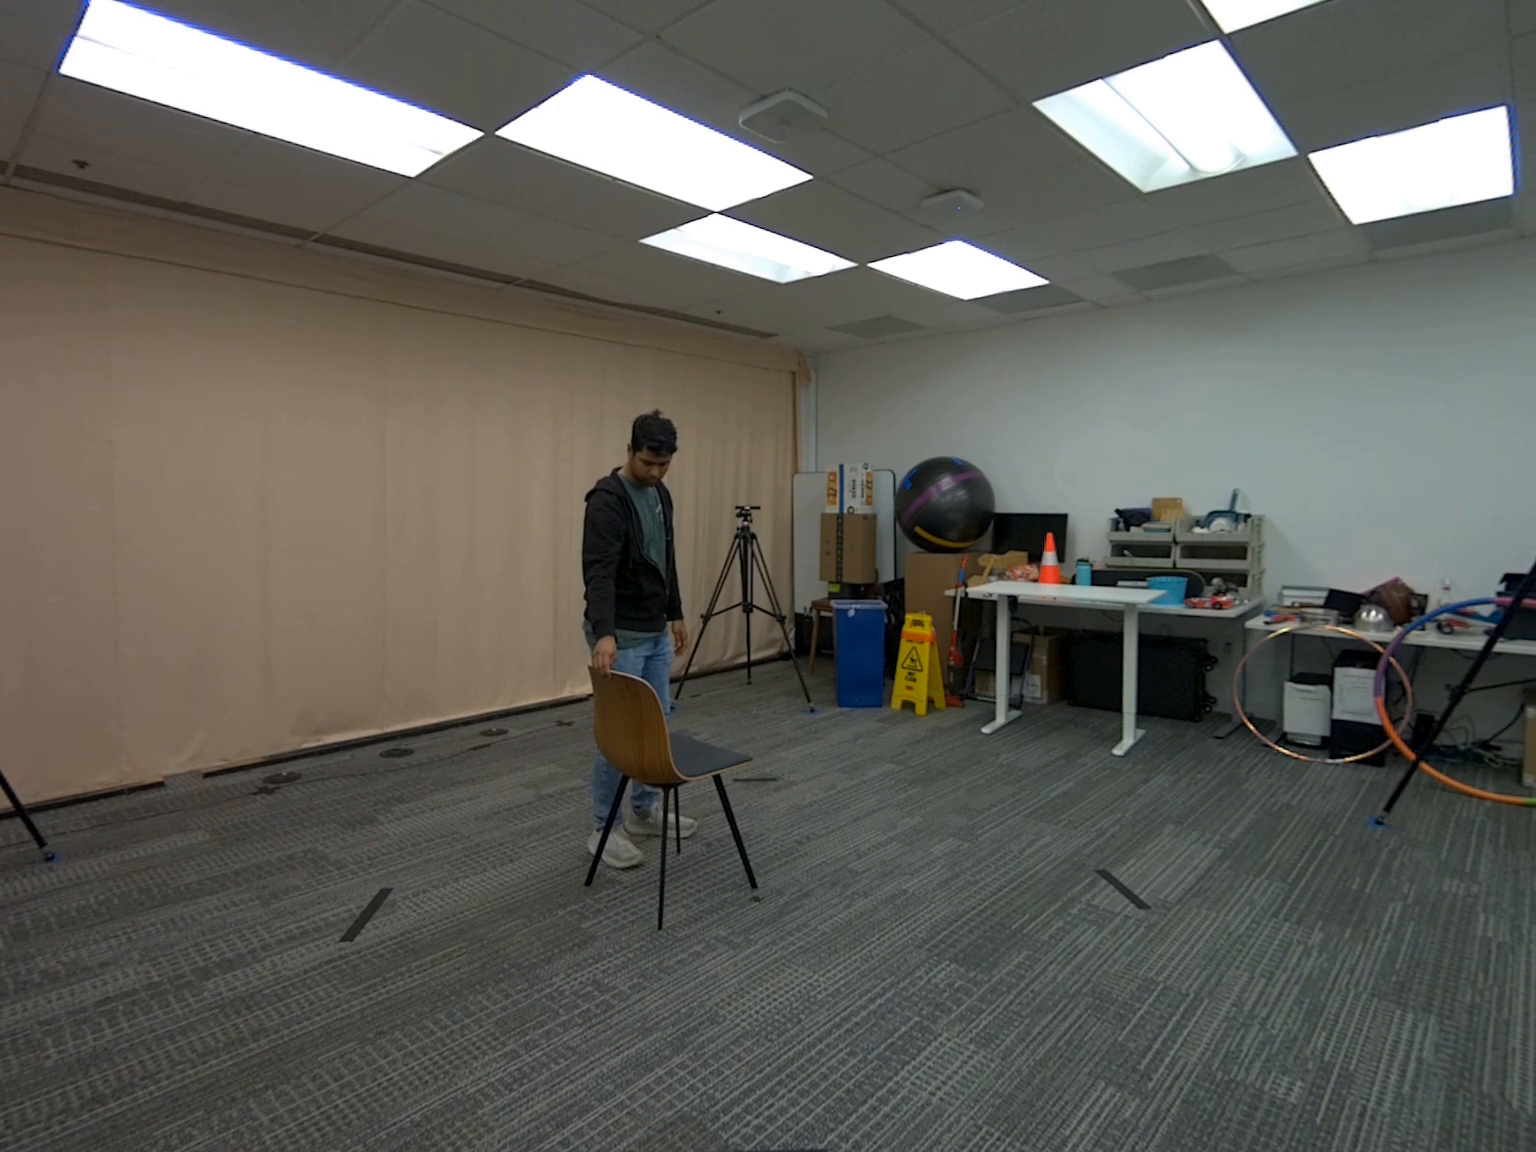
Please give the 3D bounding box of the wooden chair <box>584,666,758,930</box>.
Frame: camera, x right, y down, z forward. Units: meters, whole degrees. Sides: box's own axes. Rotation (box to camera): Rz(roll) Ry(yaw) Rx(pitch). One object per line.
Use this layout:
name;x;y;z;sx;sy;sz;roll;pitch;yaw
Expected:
wooden chair;-0.344;0.712;3.052;0.508;0.874;0.494;-9;8;-43
